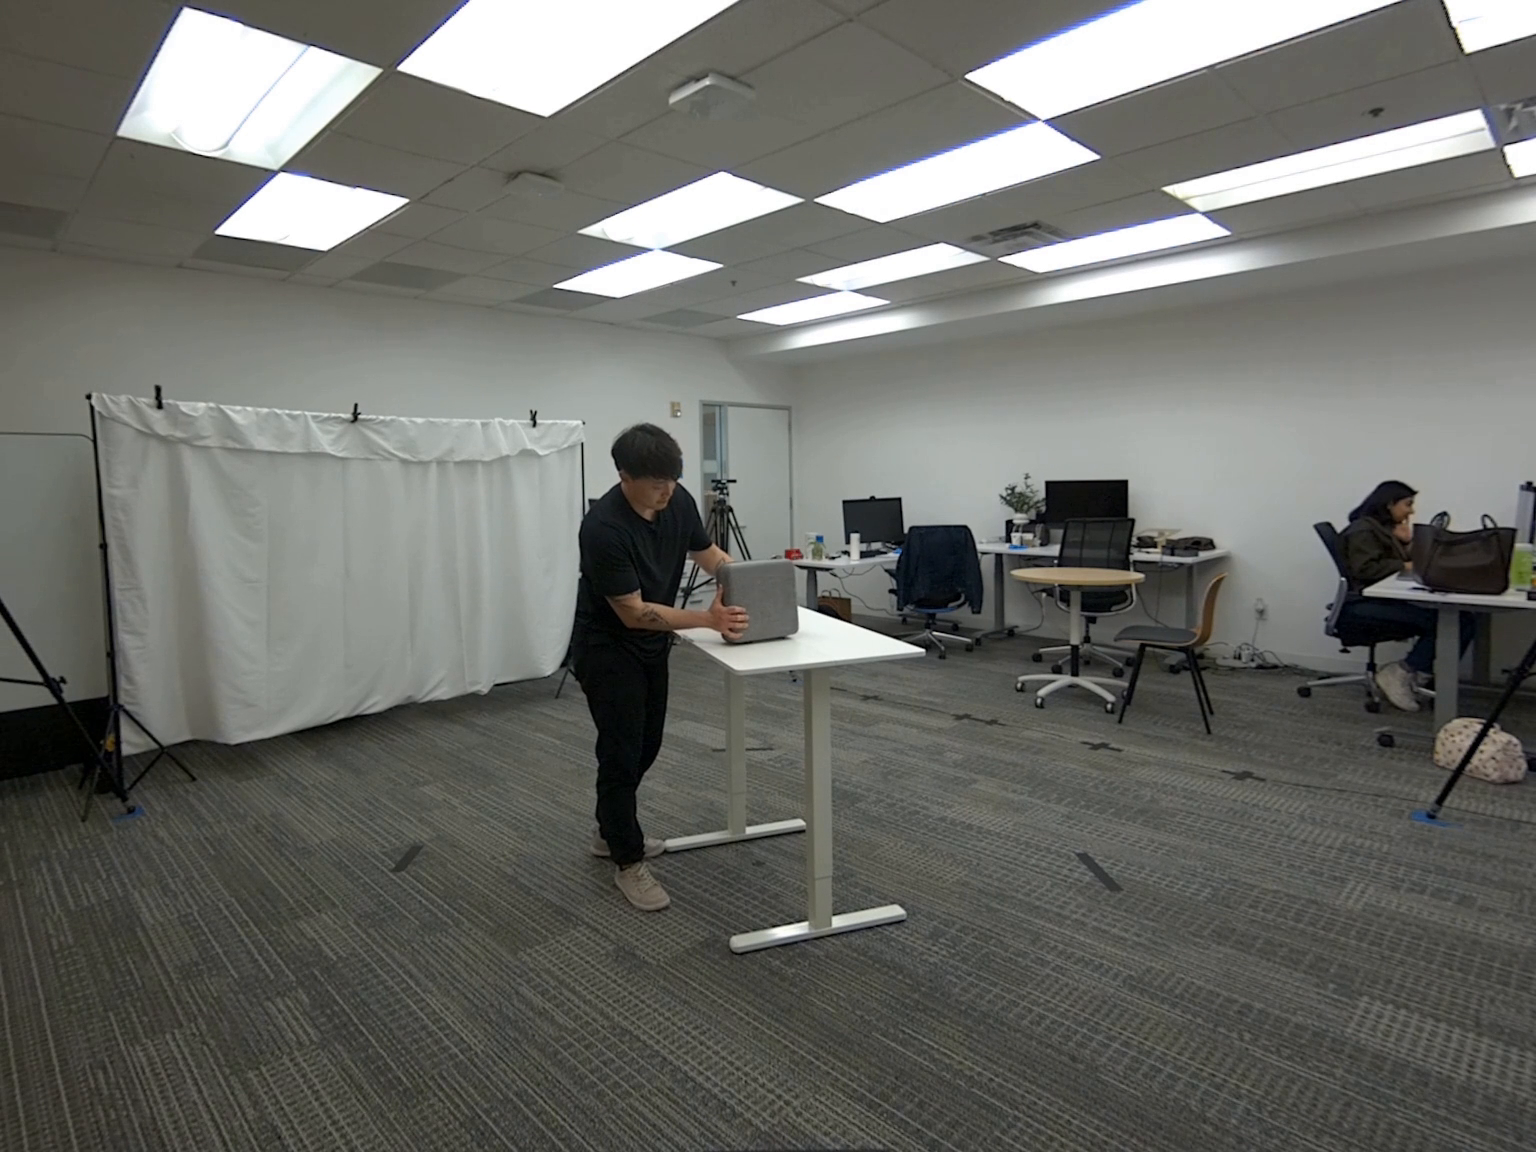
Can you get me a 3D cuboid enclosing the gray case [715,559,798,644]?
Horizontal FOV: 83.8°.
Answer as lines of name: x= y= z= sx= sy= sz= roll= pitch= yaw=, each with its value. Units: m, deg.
gray case: x=-0.035 y=0.078 z=2.741 sx=0.252 sy=0.260 sz=0.106 roll=-6 pitch=1 yaw=-25
